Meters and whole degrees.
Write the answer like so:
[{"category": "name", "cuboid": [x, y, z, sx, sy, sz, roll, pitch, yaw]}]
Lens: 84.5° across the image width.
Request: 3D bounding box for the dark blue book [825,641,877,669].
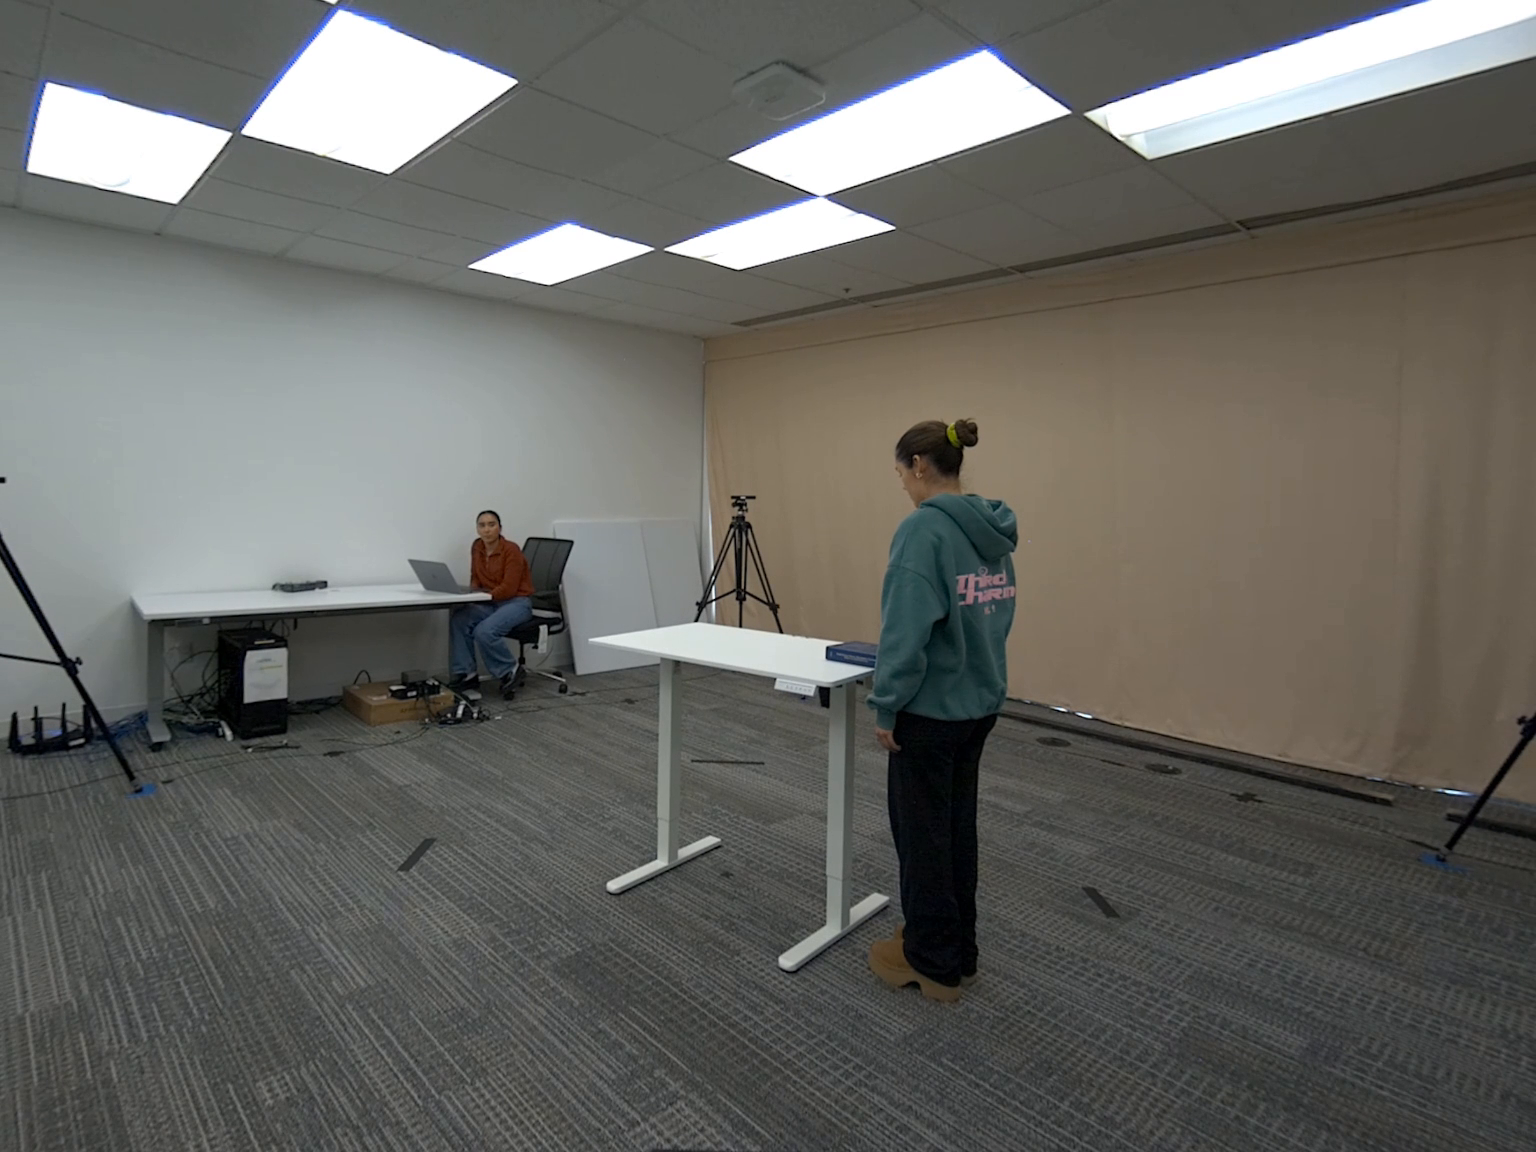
[{"category": "dark blue book", "cuboid": [0.318, 0.254, 2.633, 0.251, 0.045, 0.160, 7, 8, 44]}]
